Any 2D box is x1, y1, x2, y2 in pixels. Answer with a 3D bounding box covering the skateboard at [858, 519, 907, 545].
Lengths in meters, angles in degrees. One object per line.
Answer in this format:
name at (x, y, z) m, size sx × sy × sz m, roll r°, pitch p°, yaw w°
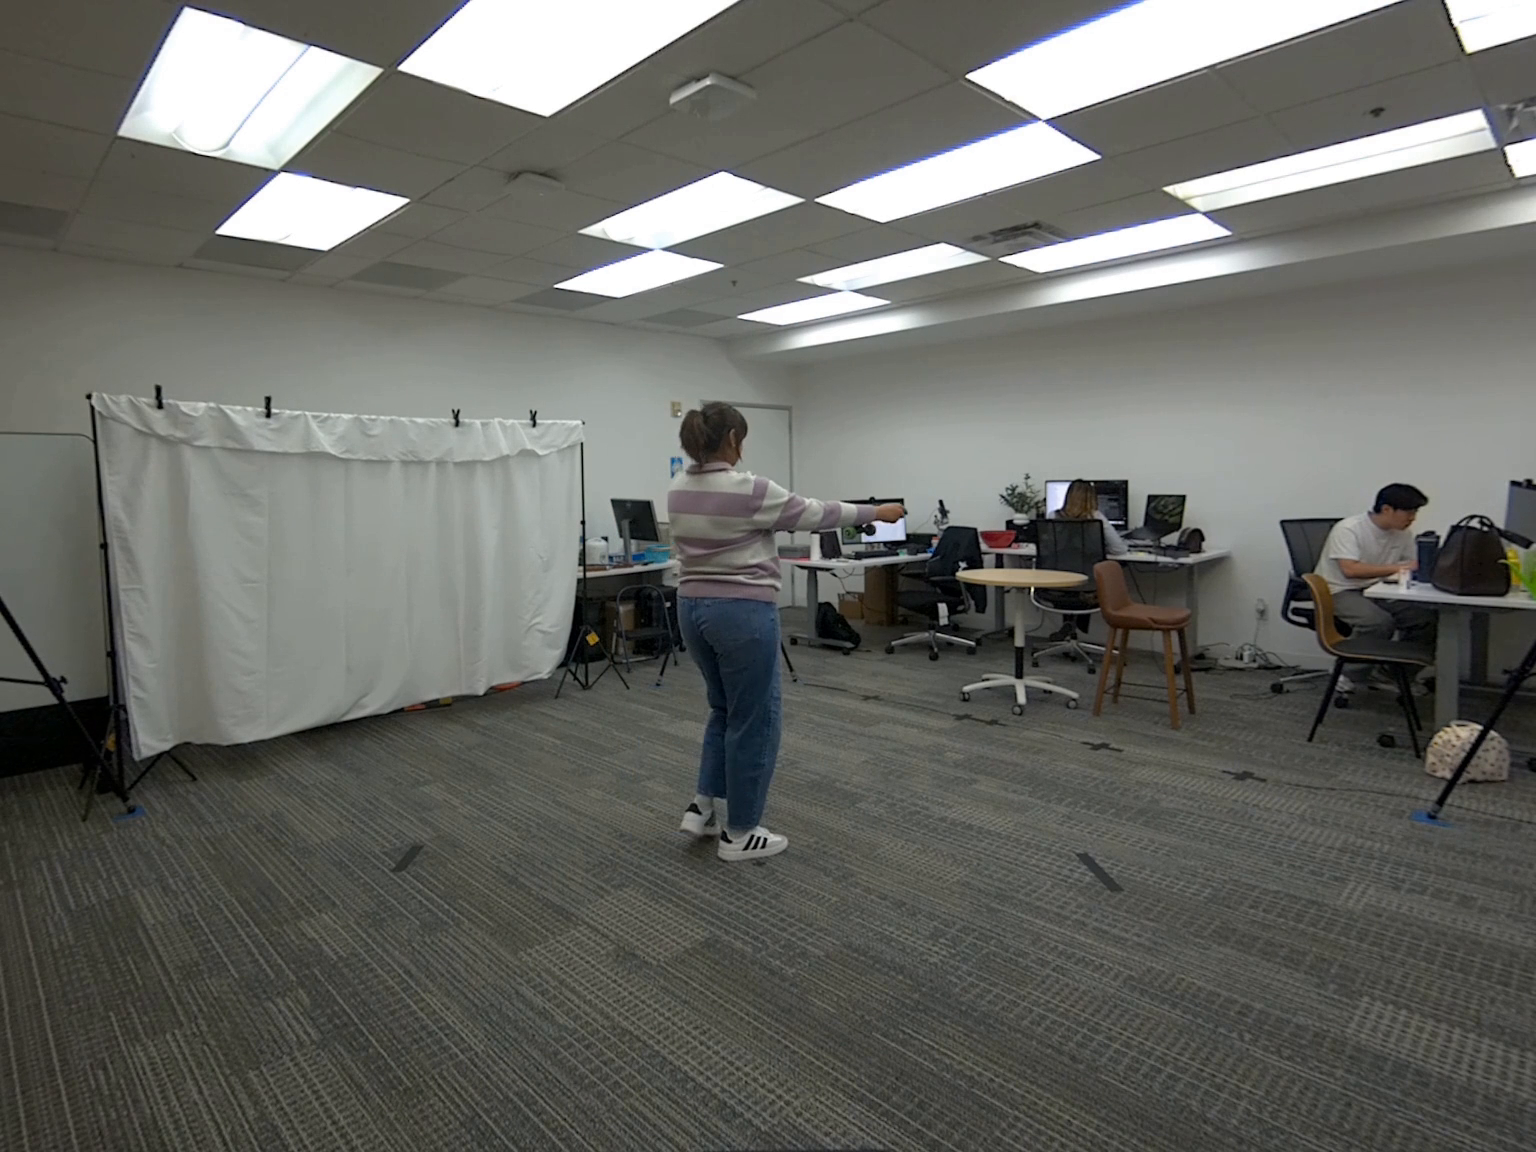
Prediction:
skateboard at (0.204, -0.224, 3.562) m, size 0.809 × 0.110 × 0.188 m, roll 5°, pitch 7°, yaw 40°
